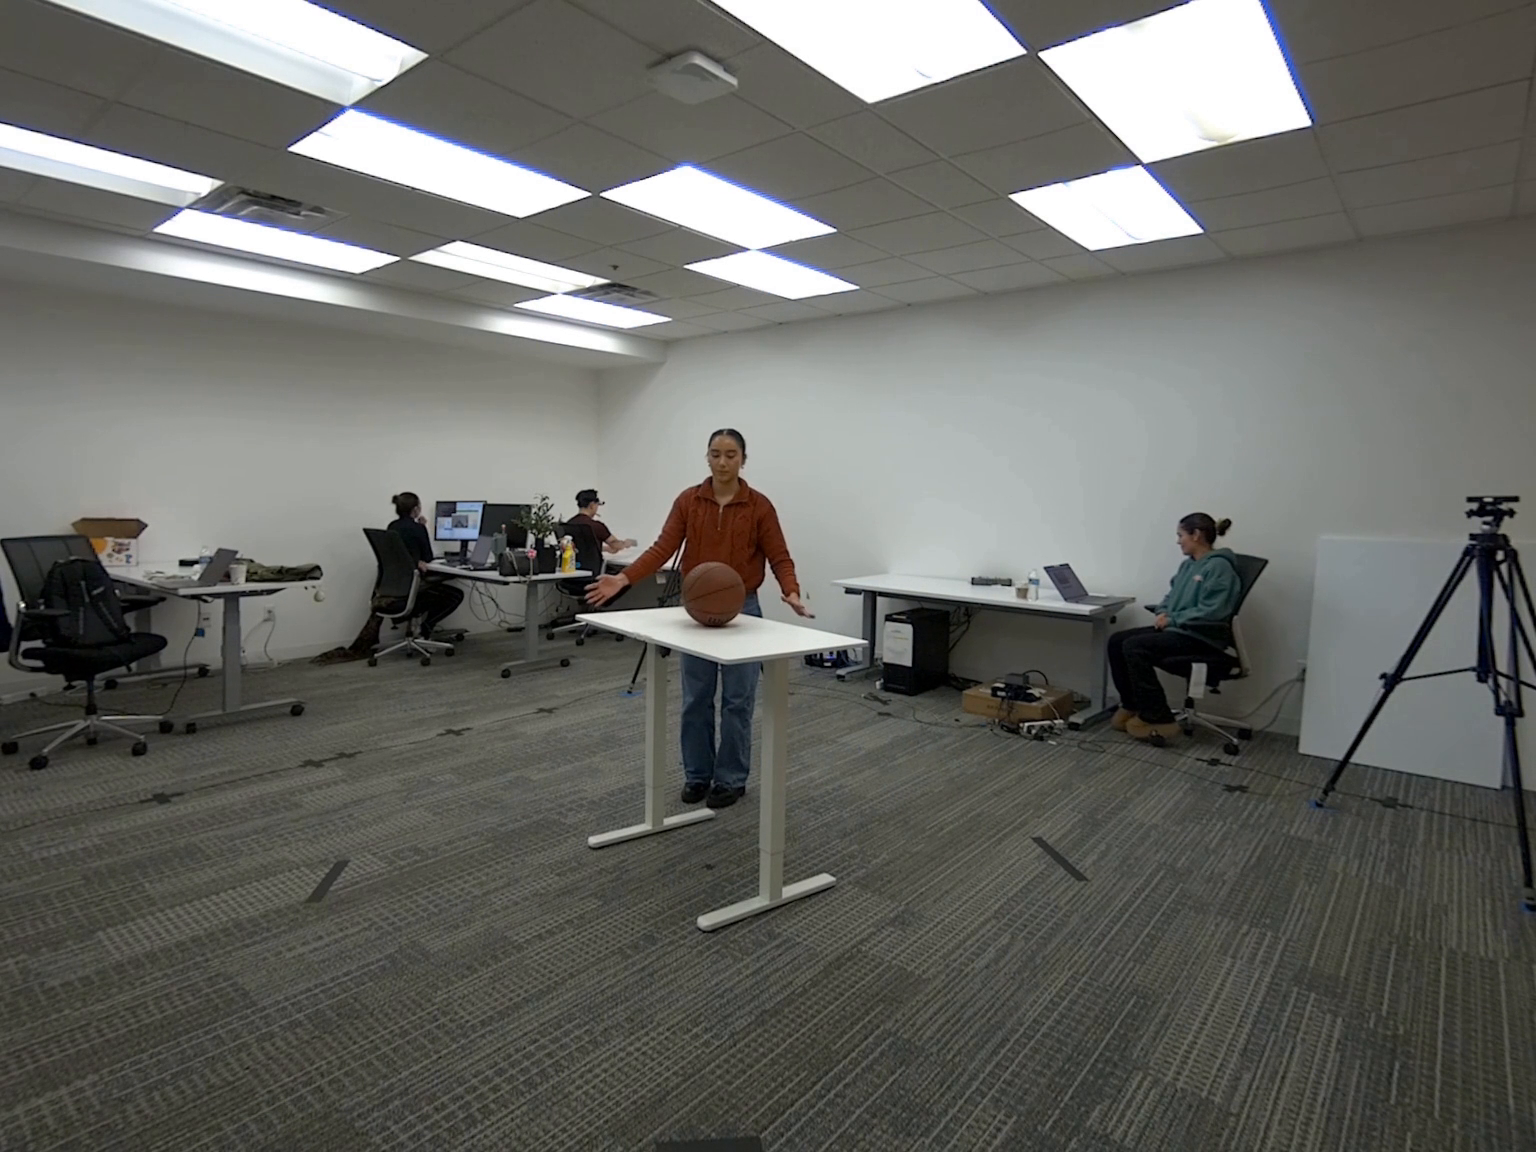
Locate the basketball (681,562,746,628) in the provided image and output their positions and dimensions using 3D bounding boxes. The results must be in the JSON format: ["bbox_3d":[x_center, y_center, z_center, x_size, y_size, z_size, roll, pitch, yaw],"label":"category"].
[{"bbox_3d":[-0.209,0.063,3.140,0.235,0.235,0.237,1,4,-2],"label":"basketball"}]
